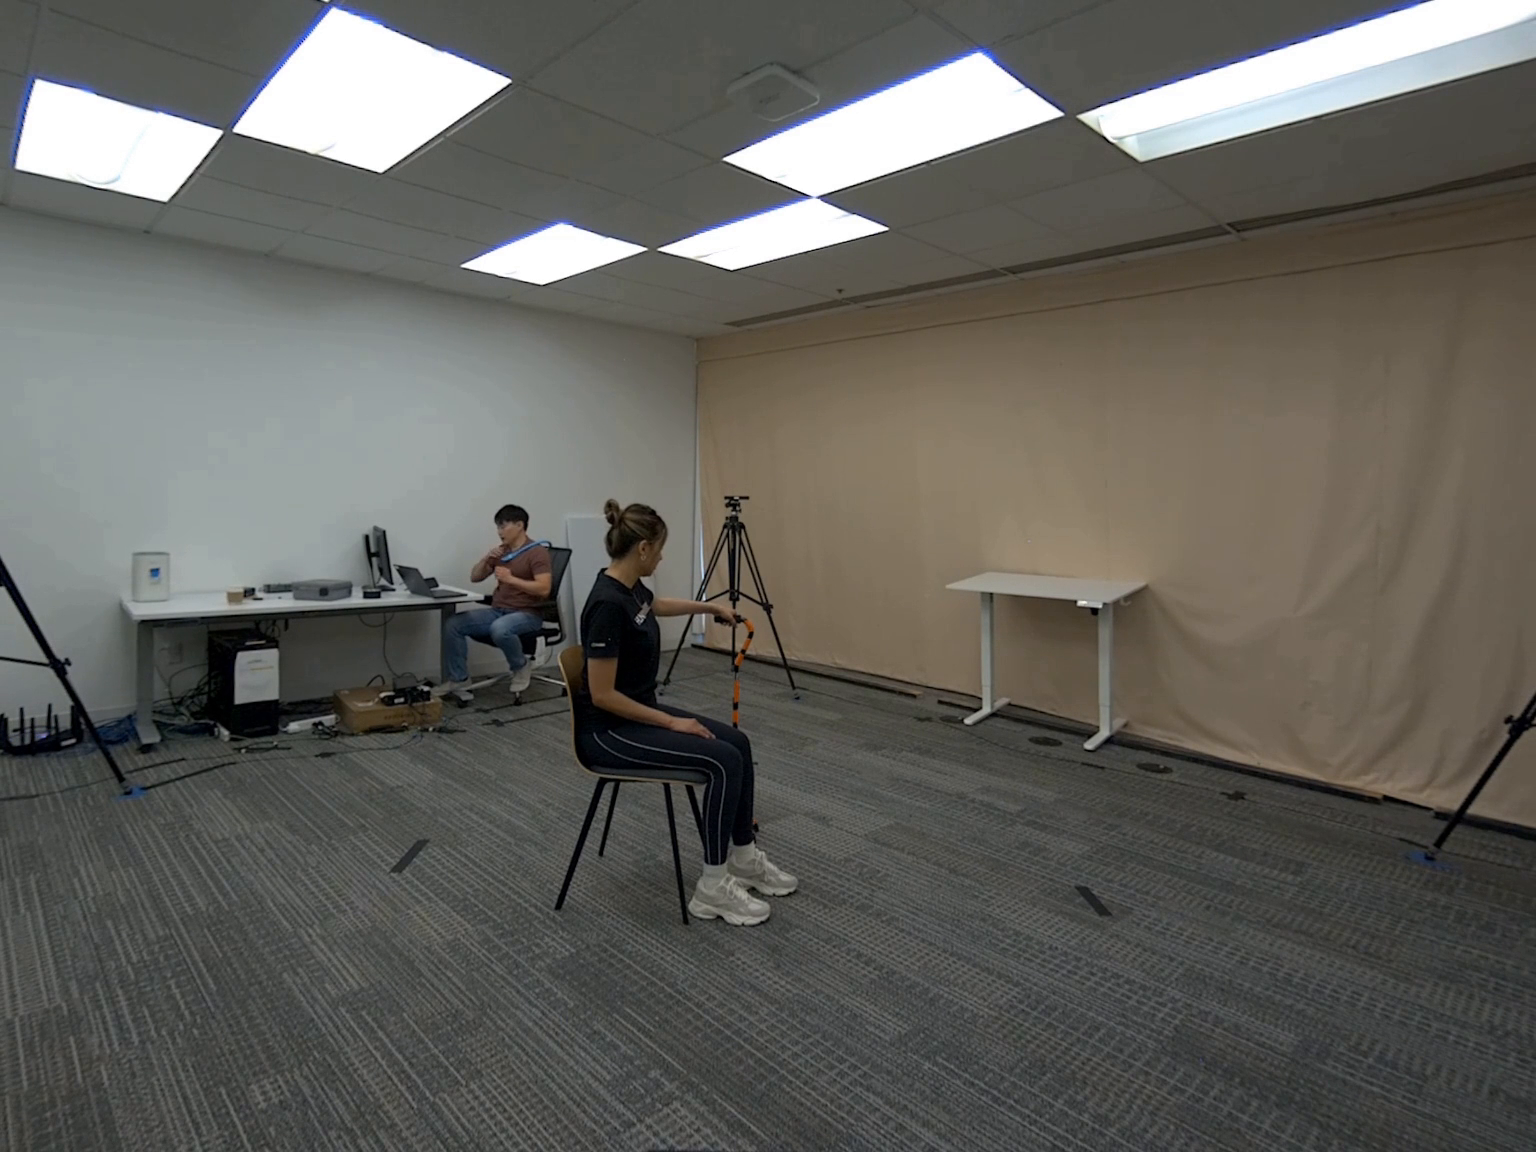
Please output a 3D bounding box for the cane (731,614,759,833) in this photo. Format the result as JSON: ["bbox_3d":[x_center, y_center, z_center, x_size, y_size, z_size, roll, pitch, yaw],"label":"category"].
[{"bbox_3d":[-0.138,0.621,3.457,0.207,0.905,0.151,2,4,5],"label":"cane"}]
